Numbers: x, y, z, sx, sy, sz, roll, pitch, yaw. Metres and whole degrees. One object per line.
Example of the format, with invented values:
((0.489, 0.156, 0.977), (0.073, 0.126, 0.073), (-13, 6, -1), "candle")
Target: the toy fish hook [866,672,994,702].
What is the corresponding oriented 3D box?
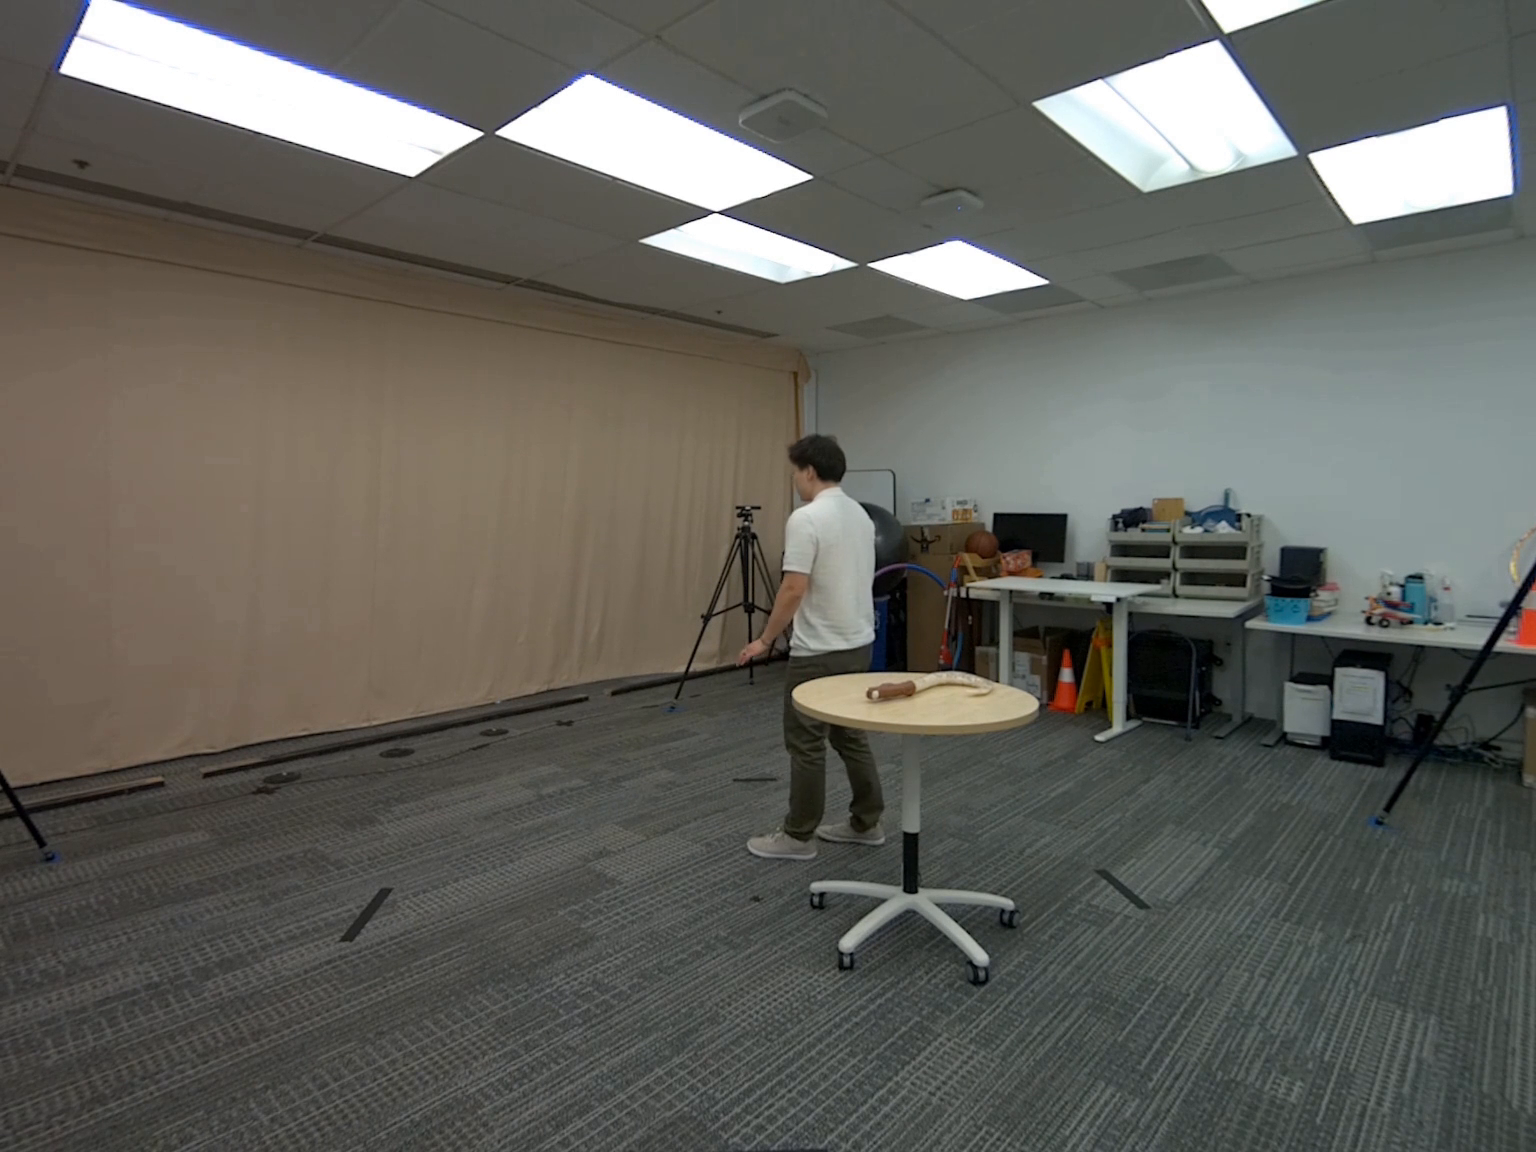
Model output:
((0.534, 0.363, 2.705), (0.491, 0.048, 0.232), (-4, 7, -38), "toy fish hook")
